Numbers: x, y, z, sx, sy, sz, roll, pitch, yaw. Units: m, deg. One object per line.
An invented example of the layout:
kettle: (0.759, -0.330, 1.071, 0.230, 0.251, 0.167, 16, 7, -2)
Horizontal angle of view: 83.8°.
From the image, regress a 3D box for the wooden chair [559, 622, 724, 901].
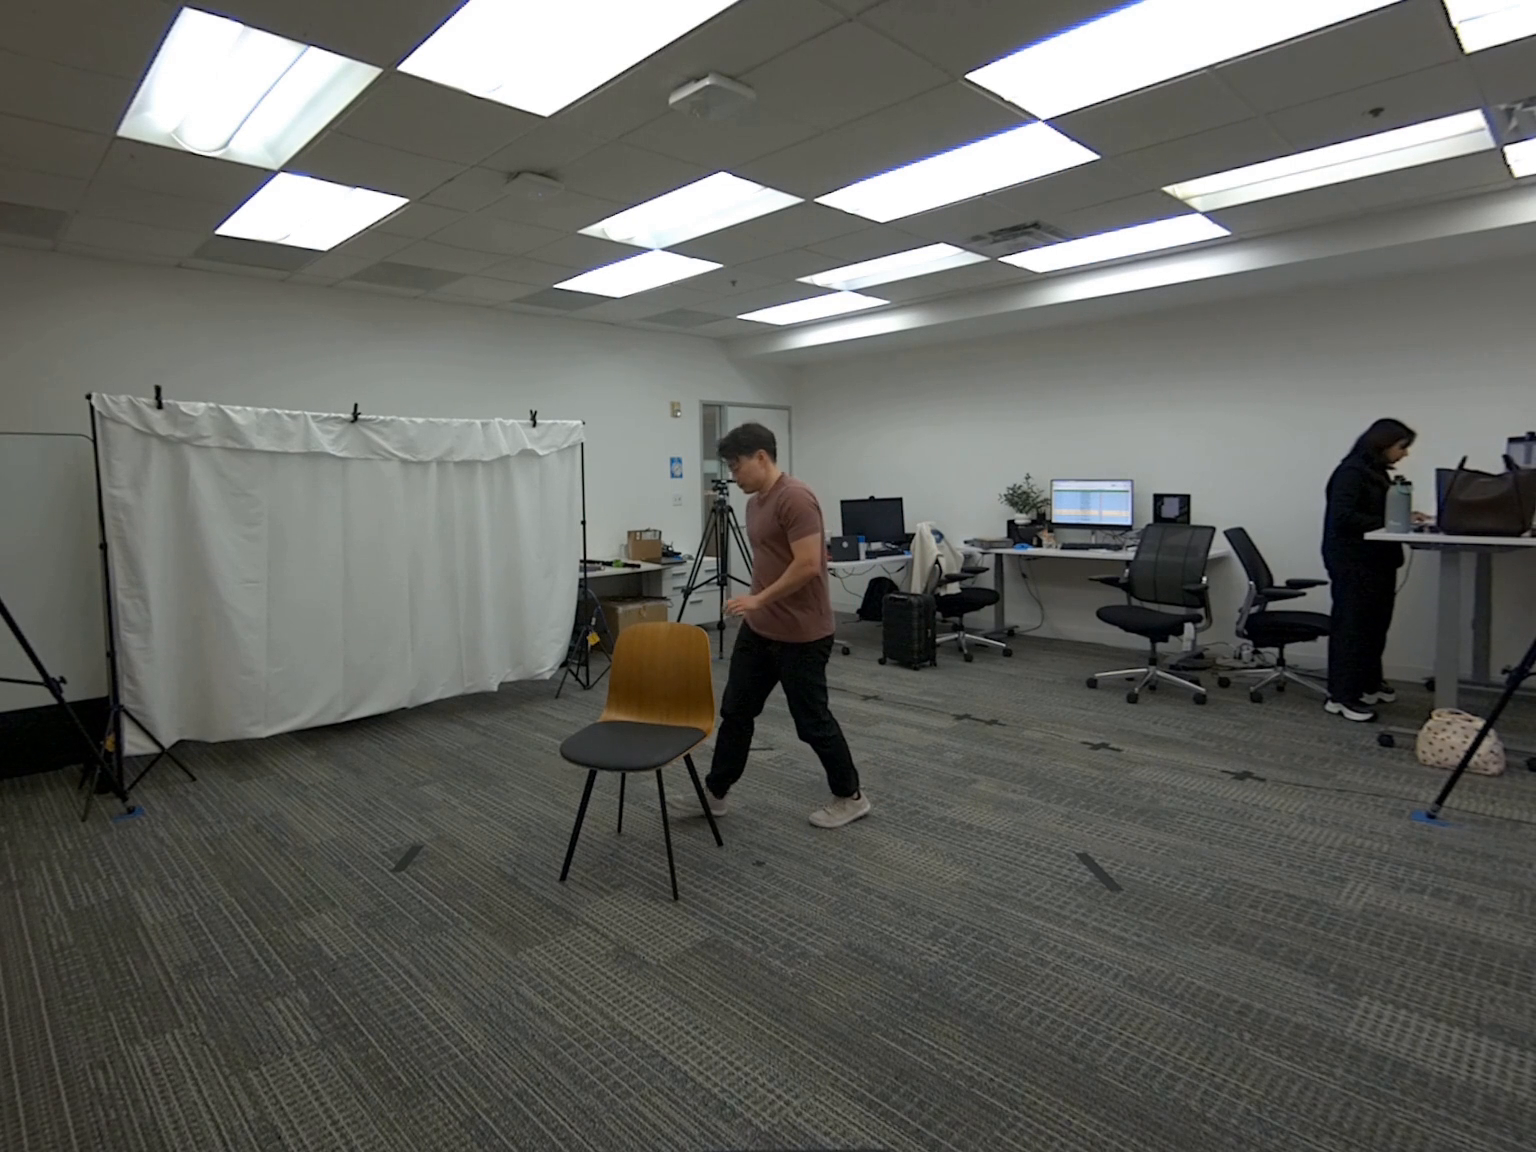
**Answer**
wooden chair: (-0.457, 0.631, 3.088, 0.487, 0.877, 0.513, 1, 0, 19)
